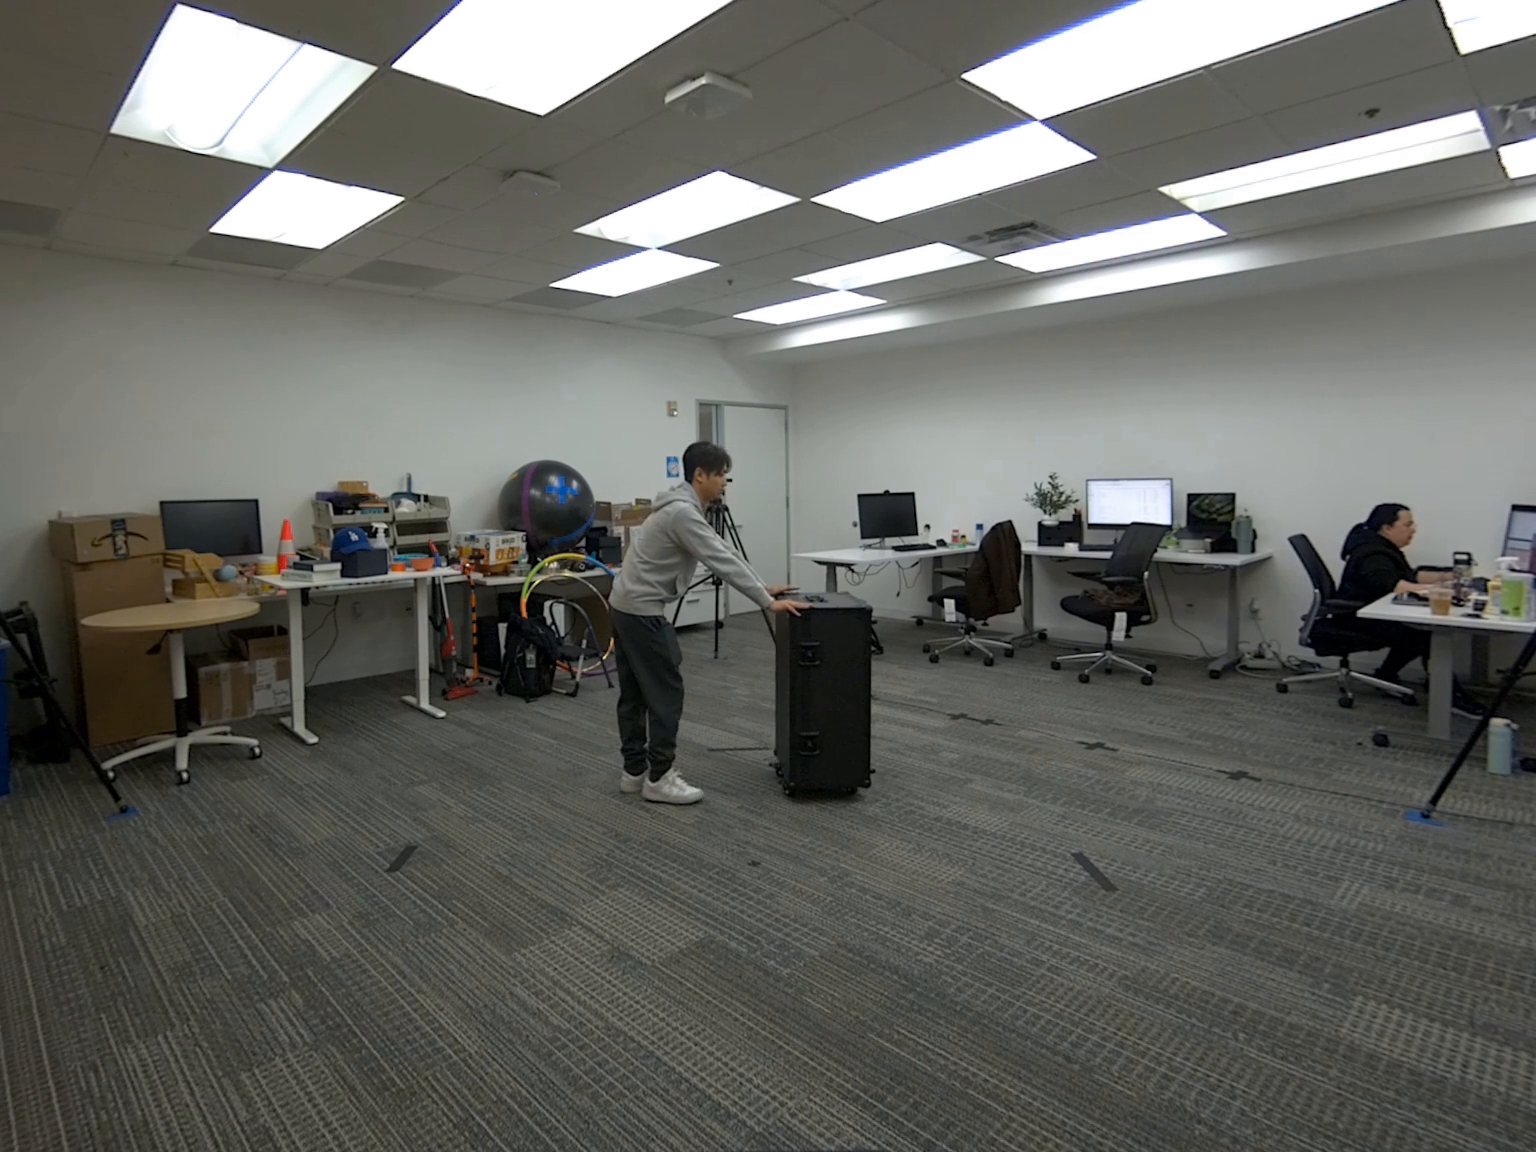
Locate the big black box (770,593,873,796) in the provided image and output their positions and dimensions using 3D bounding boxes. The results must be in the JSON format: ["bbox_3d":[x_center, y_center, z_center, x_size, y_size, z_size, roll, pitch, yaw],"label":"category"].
[{"bbox_3d":[0.246,0.528,3.867,0.394,0.859,0.525,0,4,-6],"label":"big black box"}]
